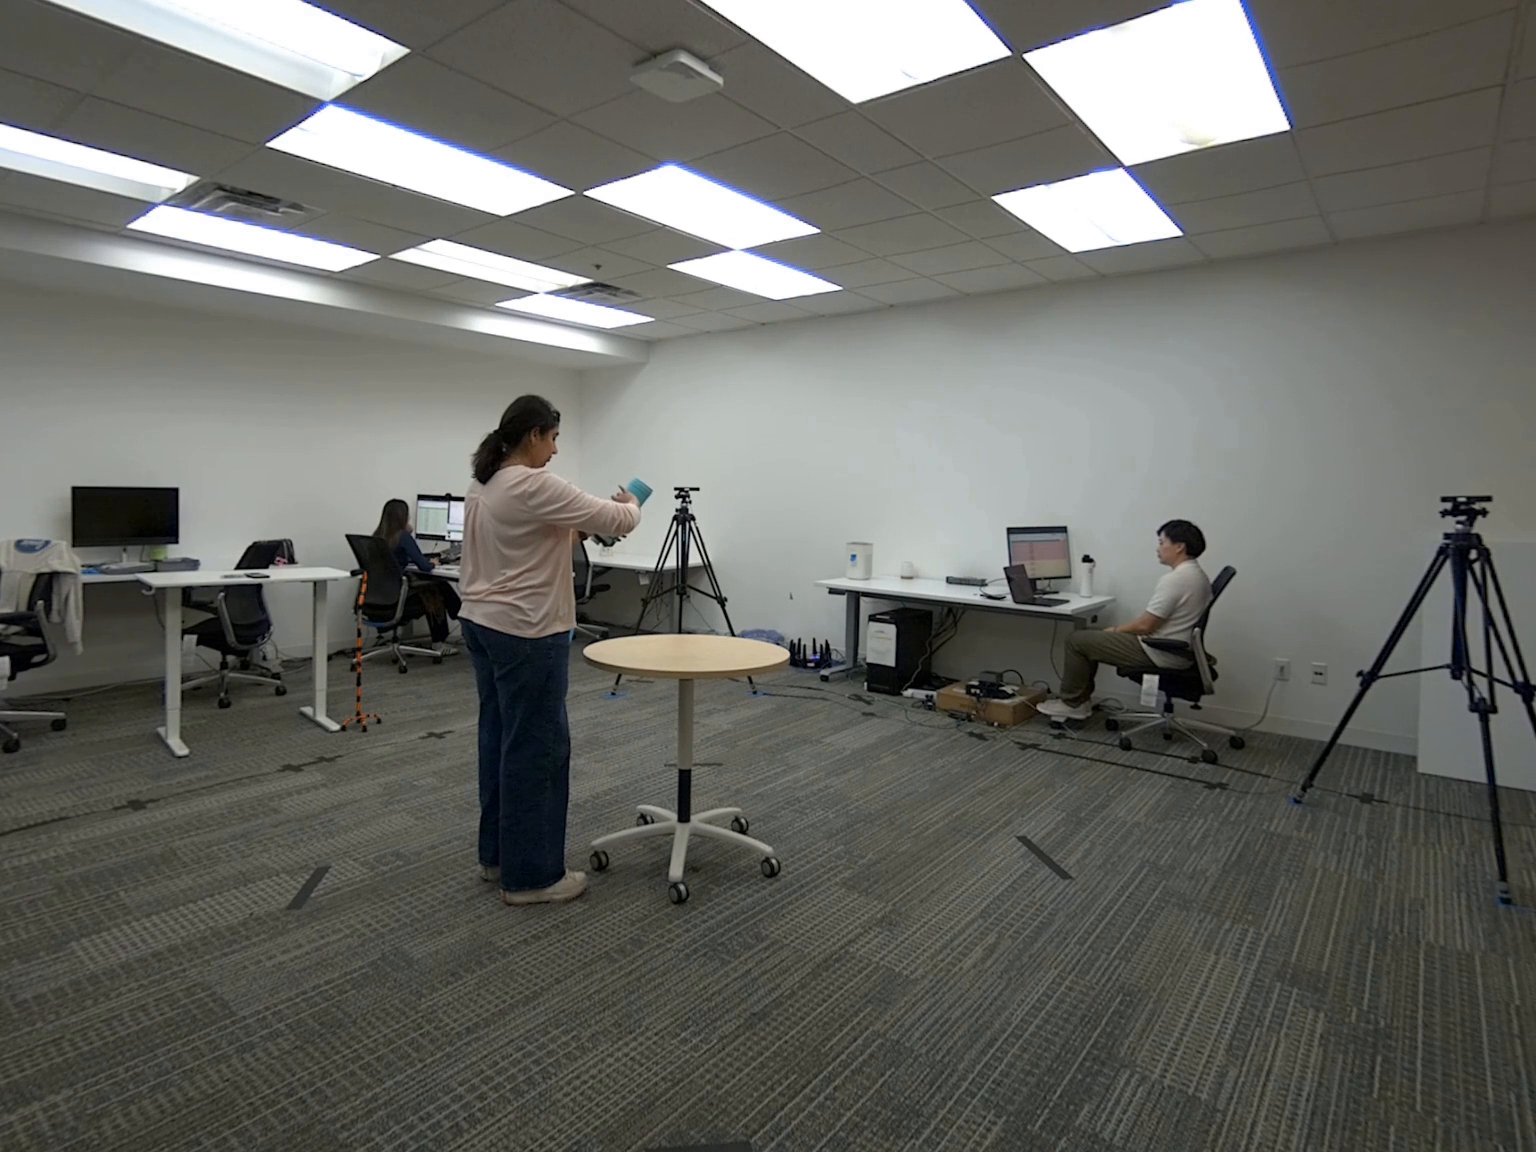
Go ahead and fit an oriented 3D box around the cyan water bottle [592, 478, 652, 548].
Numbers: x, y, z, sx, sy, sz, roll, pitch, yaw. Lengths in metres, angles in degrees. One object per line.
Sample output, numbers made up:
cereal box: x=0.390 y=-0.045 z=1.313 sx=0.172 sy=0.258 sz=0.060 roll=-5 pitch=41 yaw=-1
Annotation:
cyan water bottle: x=-0.561 y=-0.229 z=3.131 sx=0.092 sy=0.283 sz=0.092 roll=34 pitch=-4 yaw=0
